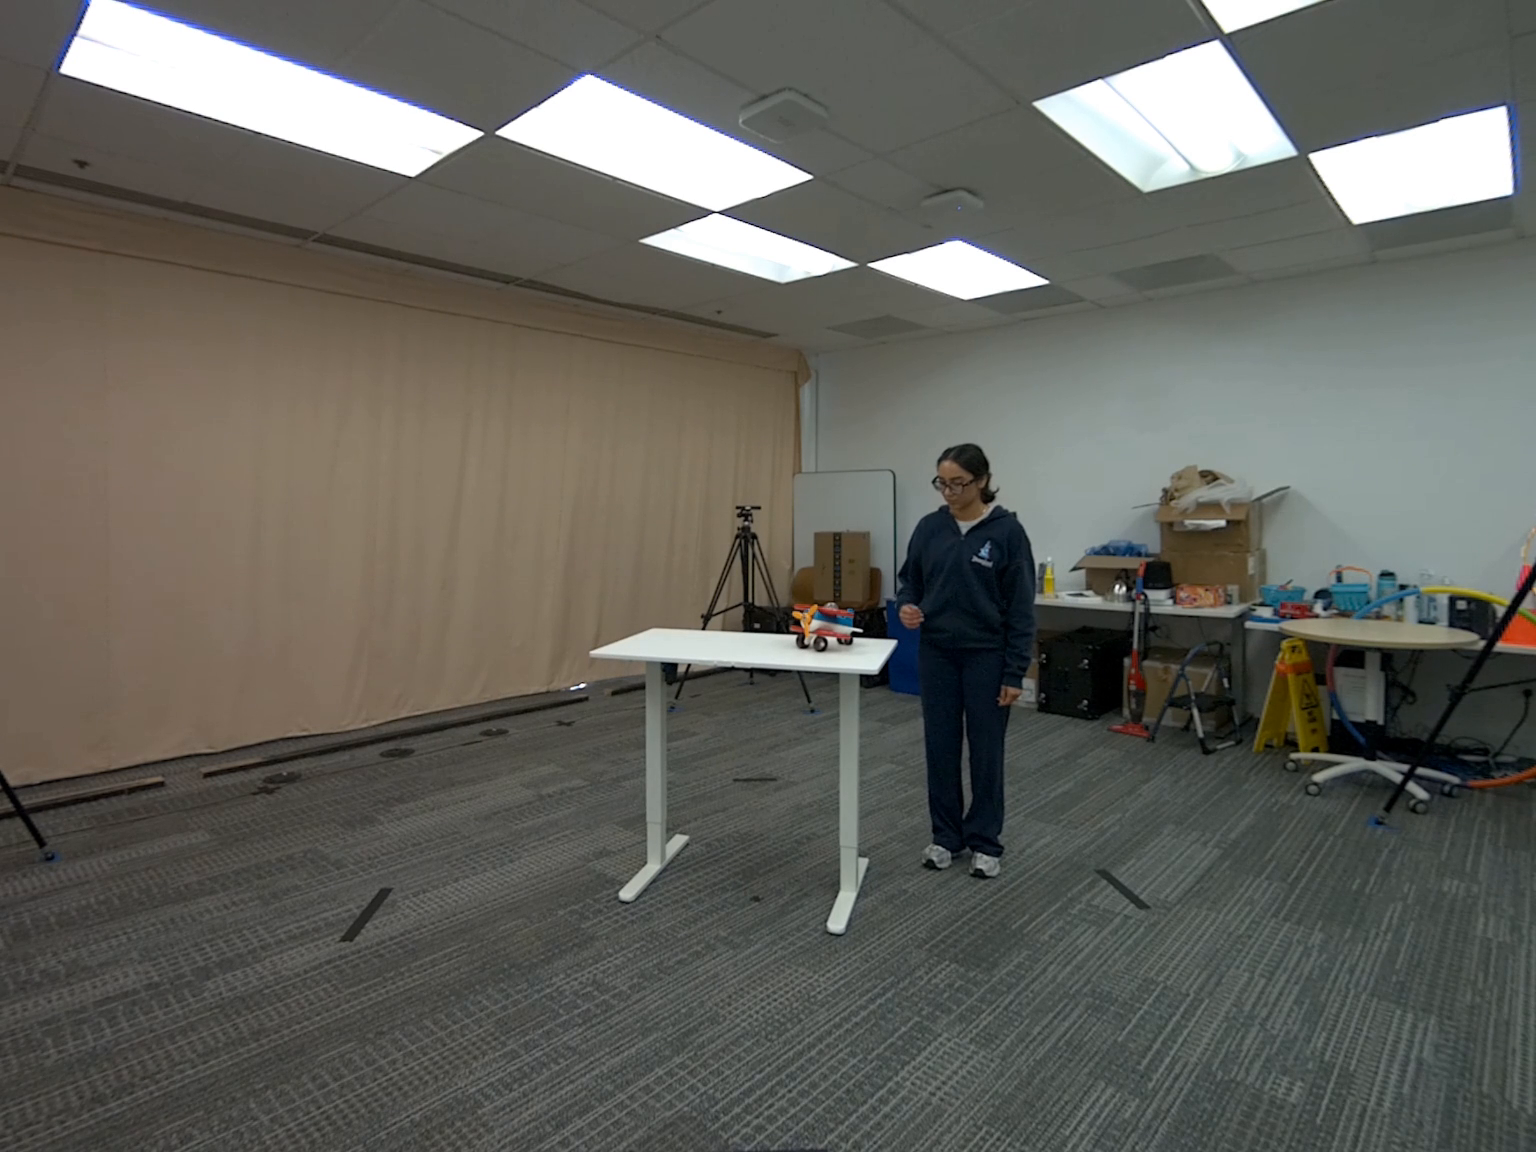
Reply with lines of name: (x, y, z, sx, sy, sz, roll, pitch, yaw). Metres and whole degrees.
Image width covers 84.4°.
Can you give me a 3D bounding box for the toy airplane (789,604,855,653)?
toy airplane: (0.209, 0.177, 3.041, 0.256, 0.156, 0.254, 0, 5, 20)
